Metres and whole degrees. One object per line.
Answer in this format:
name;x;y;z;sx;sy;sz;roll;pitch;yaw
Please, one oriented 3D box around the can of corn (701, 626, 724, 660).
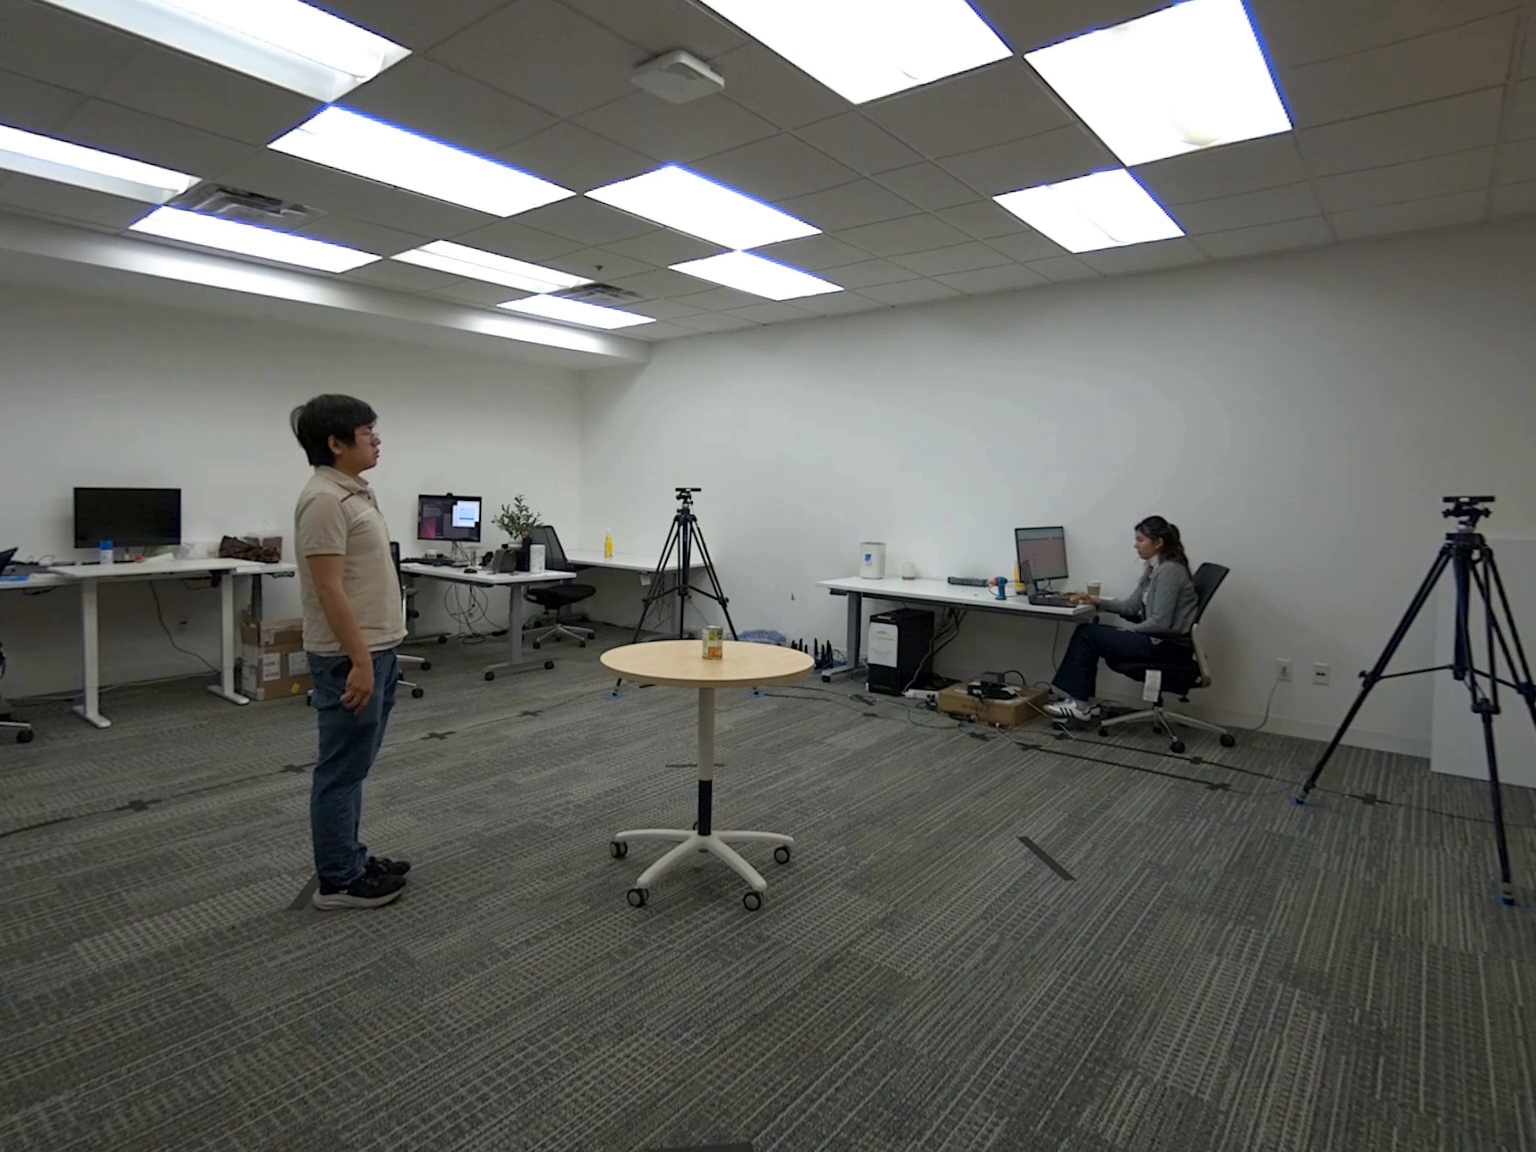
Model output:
can of corn;-0.215;0.239;3.050;0.074;0.111;0.074;1;2;-2
